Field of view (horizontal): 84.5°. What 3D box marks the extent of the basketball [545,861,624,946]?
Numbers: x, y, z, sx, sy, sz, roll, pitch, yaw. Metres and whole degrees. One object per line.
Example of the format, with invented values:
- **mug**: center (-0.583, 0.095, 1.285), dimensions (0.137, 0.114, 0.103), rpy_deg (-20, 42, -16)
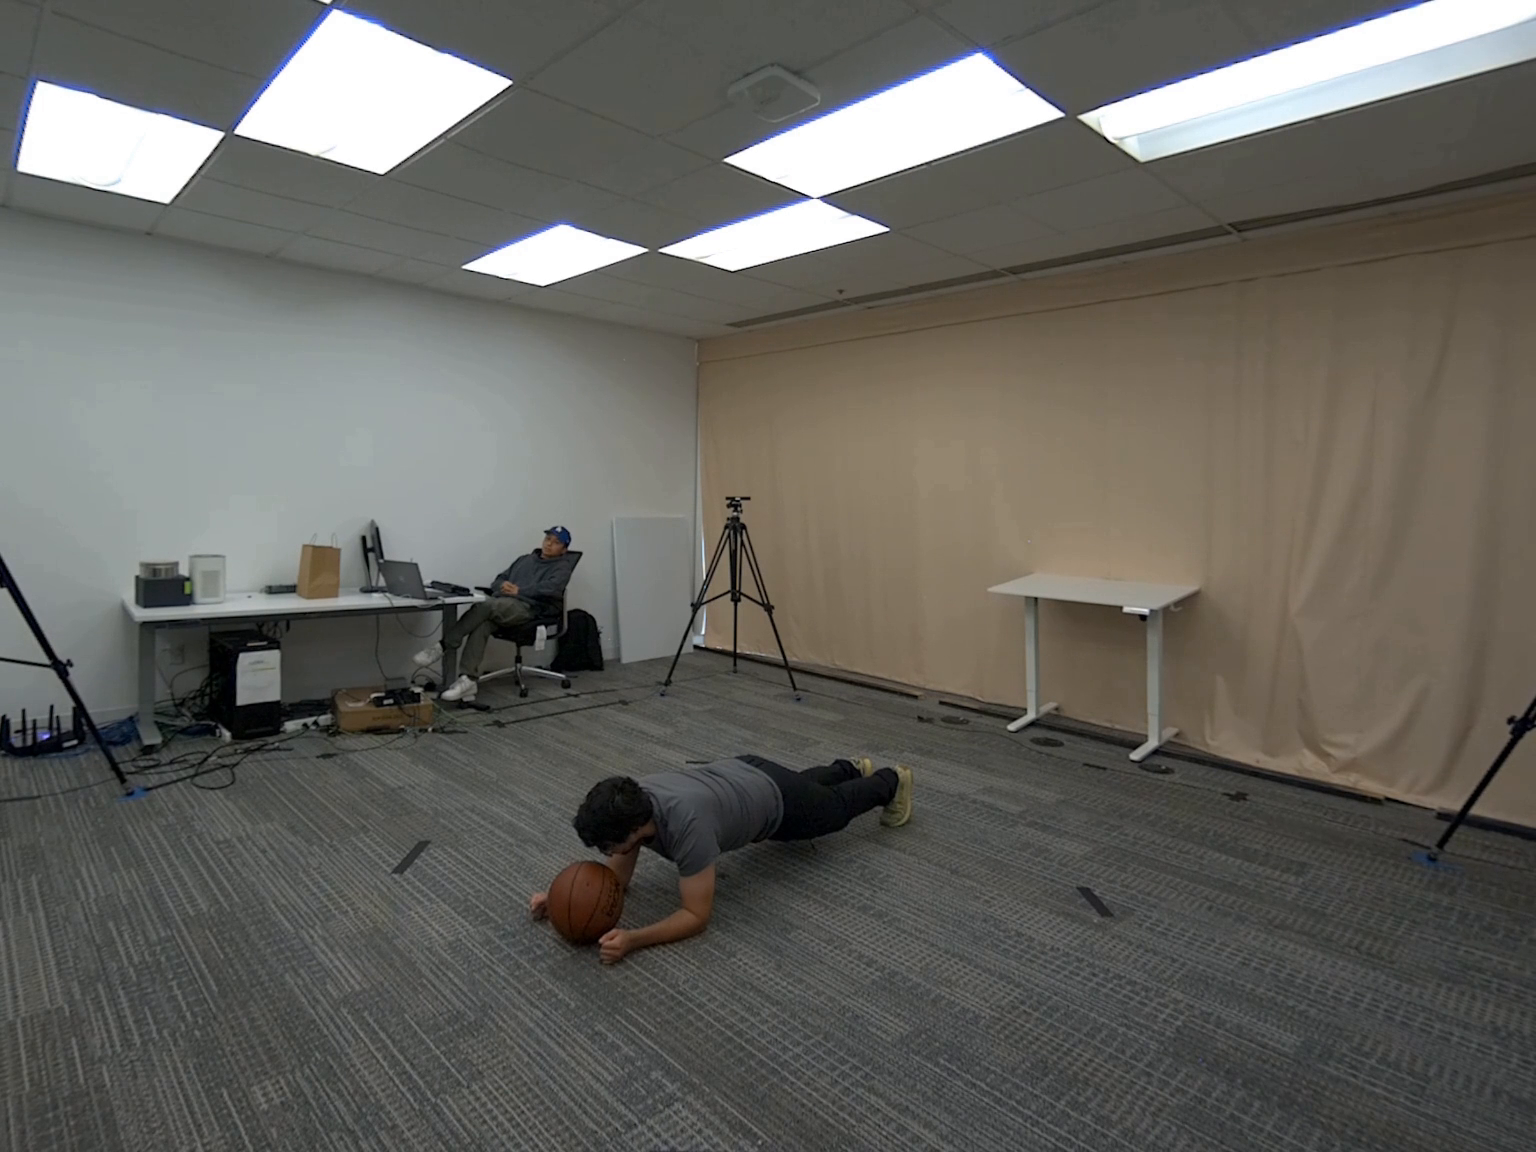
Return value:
- **basketball**: center (-0.578, 1.021, 2.635), dimensions (0.236, 0.235, 0.237), rpy_deg (1, 4, -1)
